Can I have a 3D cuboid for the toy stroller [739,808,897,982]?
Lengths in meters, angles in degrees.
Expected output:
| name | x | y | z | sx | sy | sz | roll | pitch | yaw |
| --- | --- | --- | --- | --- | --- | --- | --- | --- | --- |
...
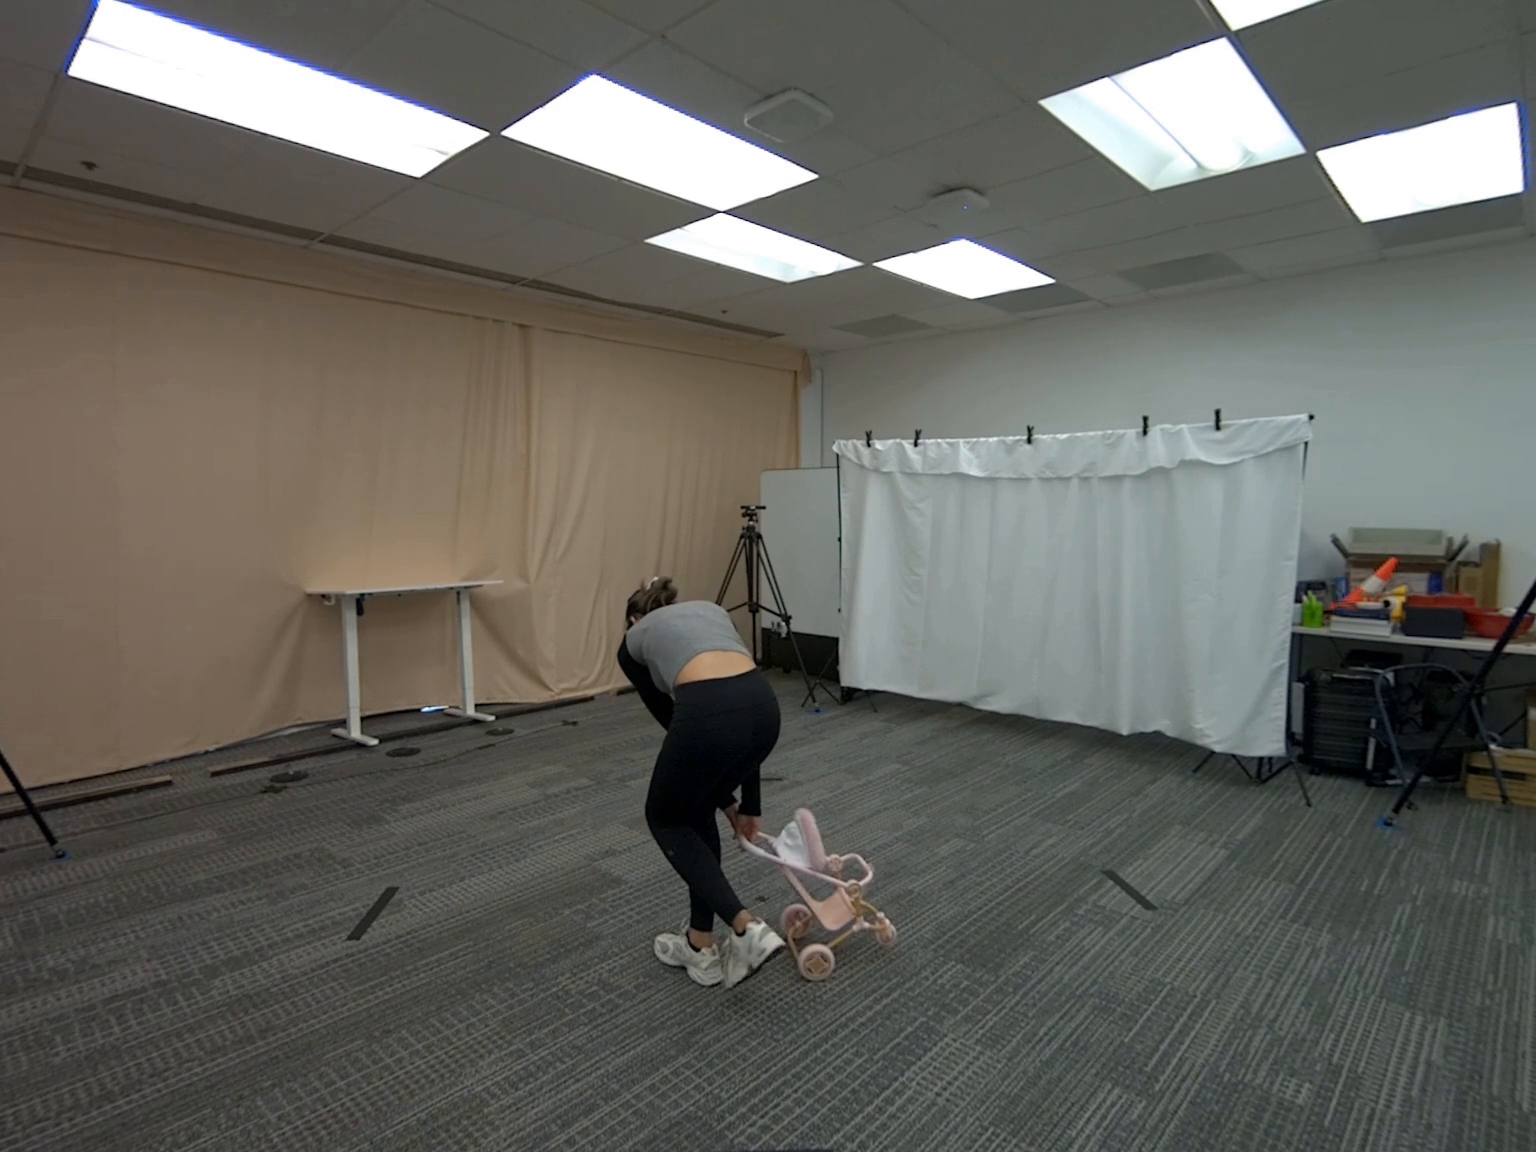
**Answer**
| name | x | y | z | sx | sy | sz | roll | pitch | yaw |
| --- | --- | --- | --- | --- | --- | --- | --- | --- | --- |
| toy stroller | 0.166 | 0.951 | 2.581 | 0.340 | 0.532 | 0.284 | -23 | 6 | -5 |
